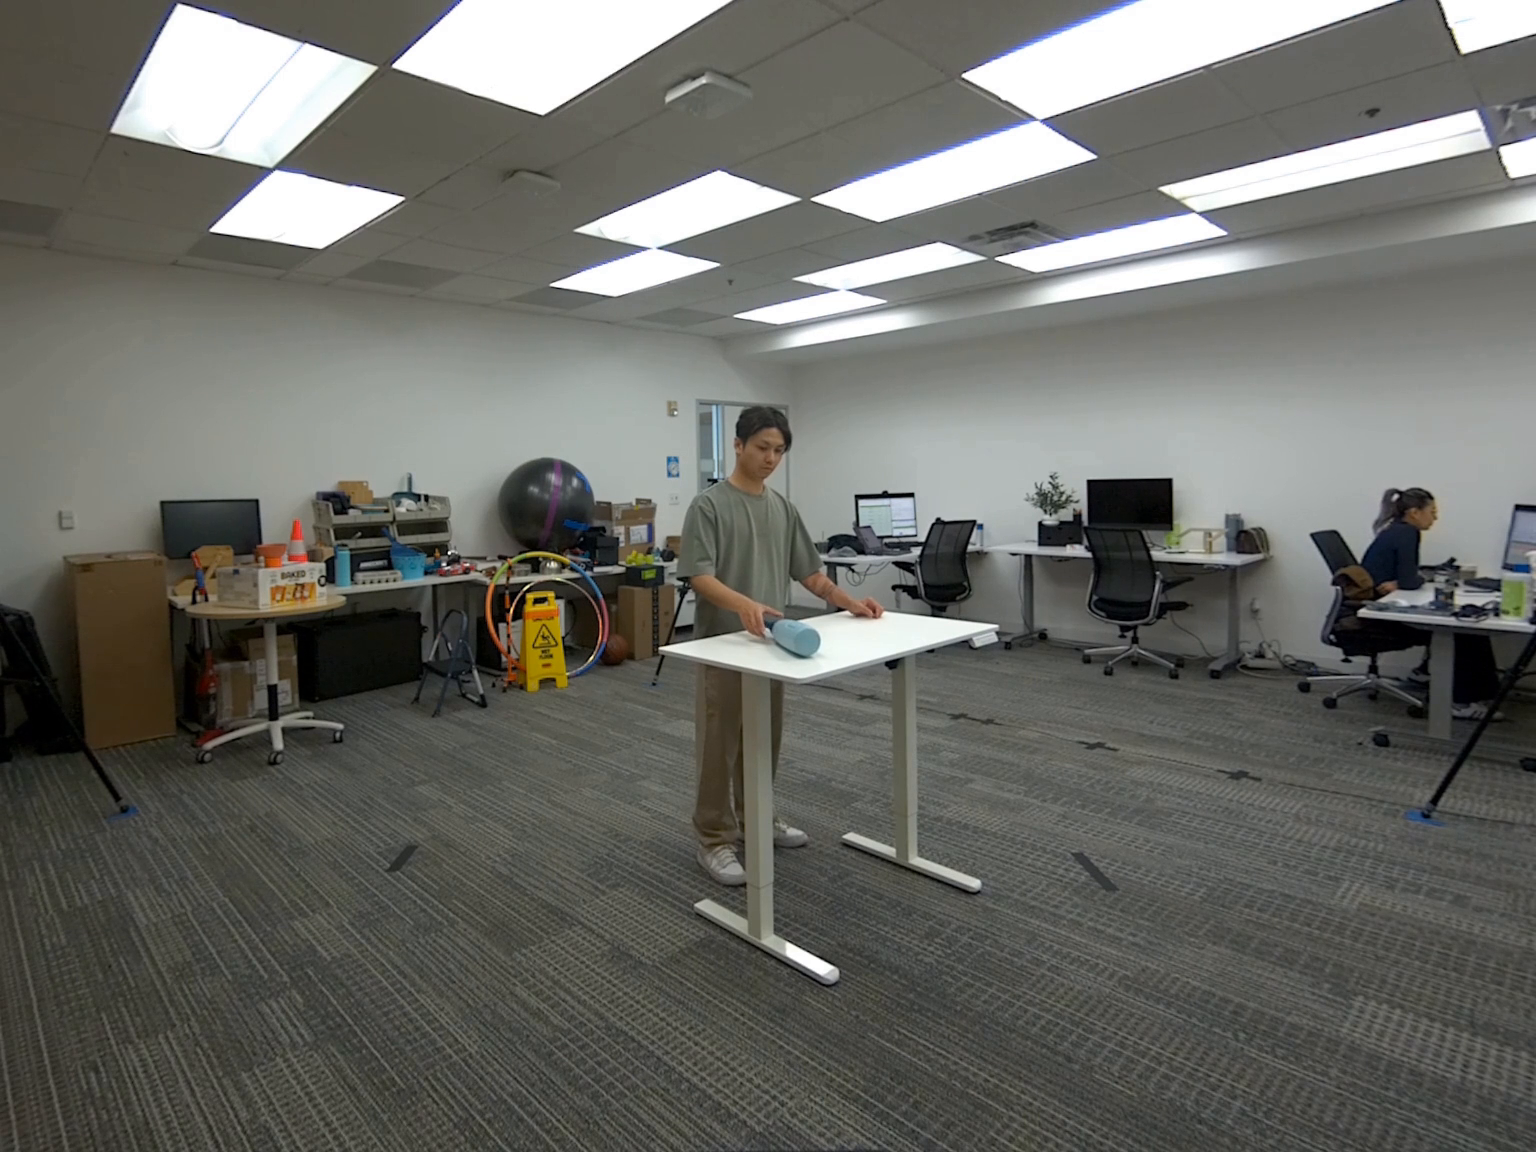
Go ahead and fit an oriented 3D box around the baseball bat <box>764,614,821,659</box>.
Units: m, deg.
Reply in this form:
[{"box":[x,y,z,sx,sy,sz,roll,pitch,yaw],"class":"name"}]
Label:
[{"box":[0.040,0.175,2.696,0.088,0.089,0.551,-2,4,-15],"class":"baseball bat"}]
